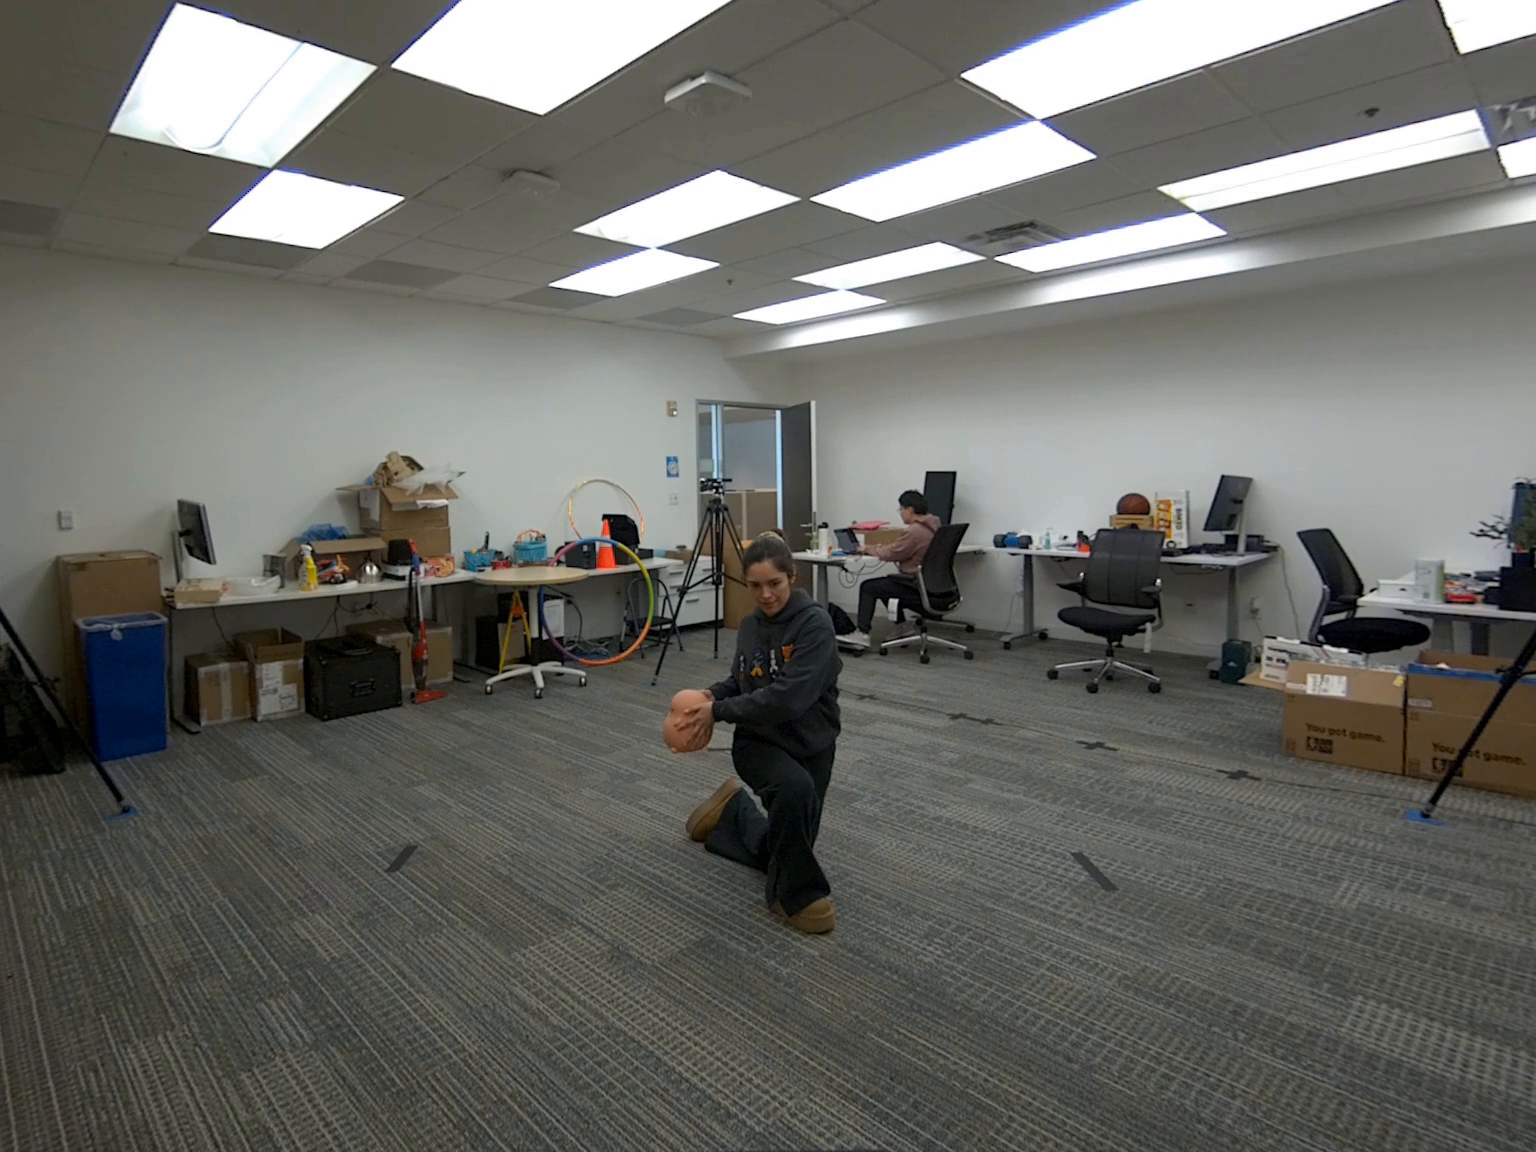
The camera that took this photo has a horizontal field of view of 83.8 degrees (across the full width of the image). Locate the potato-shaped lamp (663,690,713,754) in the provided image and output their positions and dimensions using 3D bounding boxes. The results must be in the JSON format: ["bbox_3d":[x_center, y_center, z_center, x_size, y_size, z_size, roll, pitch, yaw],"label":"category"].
[{"bbox_3d":[-0.265,0.485,2.858,0.169,0.197,0.168,-4,8,-14],"label":"potato-shaped lamp"}]
